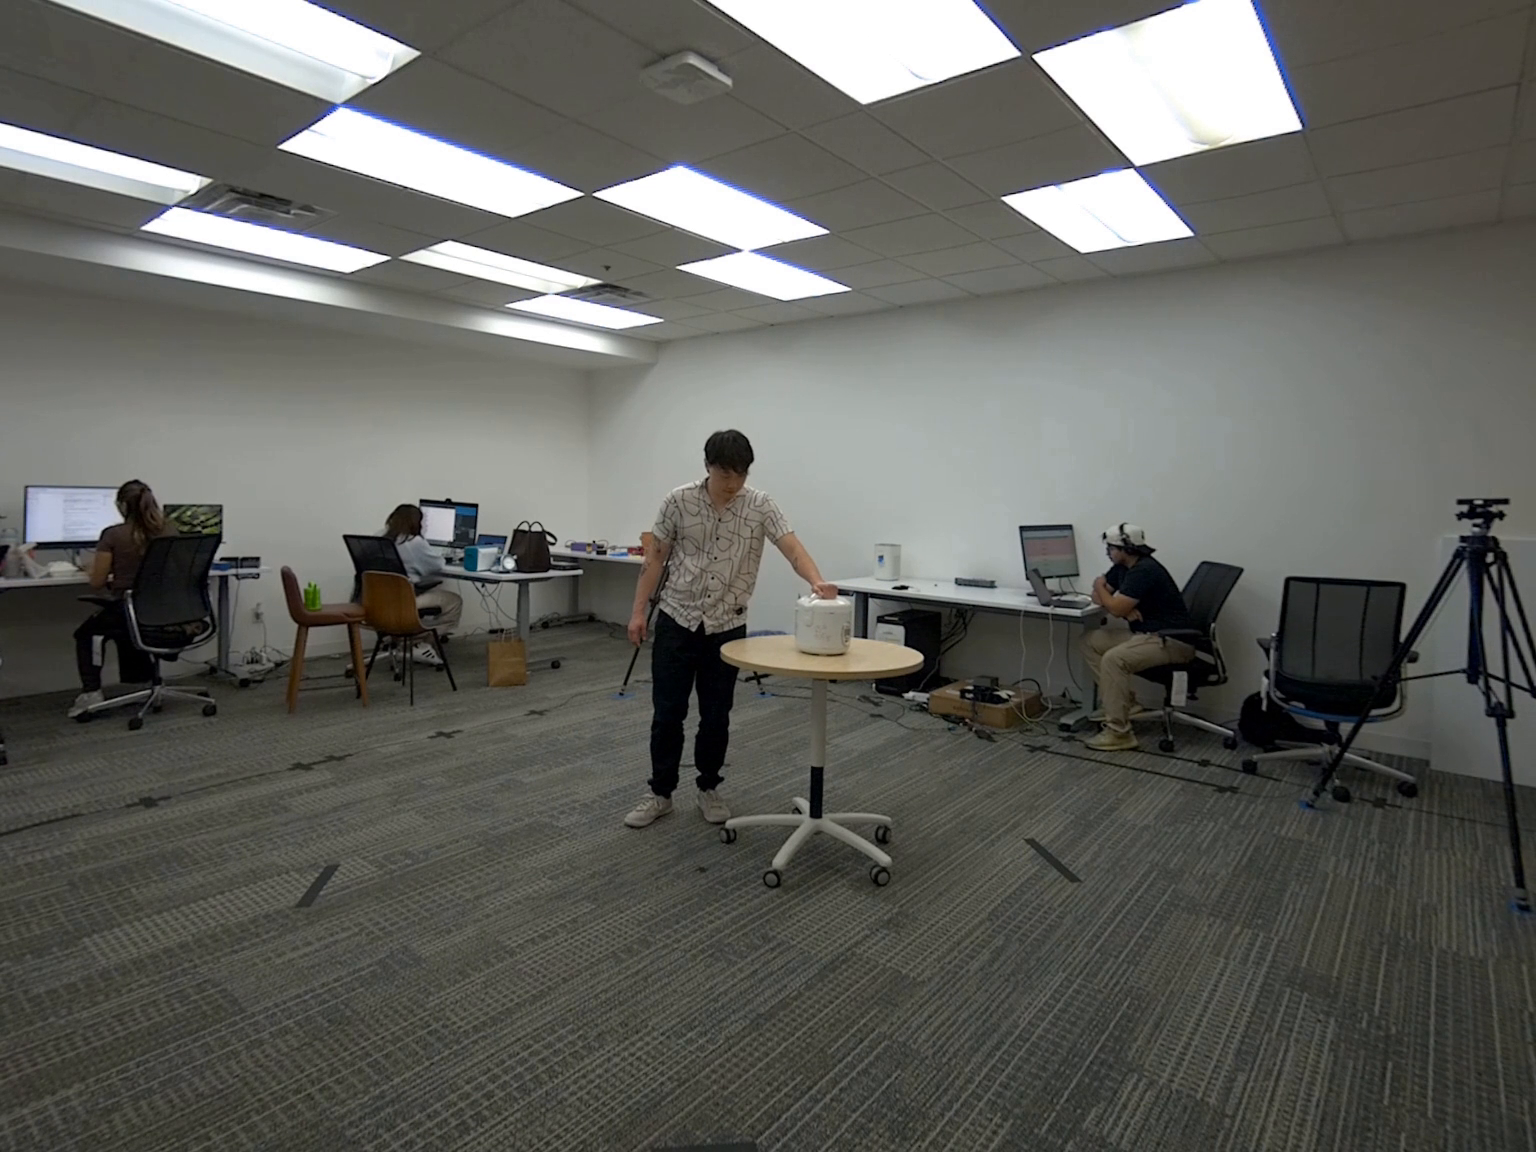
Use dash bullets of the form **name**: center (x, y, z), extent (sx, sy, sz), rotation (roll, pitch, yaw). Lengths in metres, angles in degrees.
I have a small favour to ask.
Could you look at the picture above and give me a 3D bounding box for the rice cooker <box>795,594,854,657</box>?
- **rice cooker**: center (0.206, 0.169, 3.224), extent (0.224, 0.232, 0.214), rotation (2, 3, 40)
